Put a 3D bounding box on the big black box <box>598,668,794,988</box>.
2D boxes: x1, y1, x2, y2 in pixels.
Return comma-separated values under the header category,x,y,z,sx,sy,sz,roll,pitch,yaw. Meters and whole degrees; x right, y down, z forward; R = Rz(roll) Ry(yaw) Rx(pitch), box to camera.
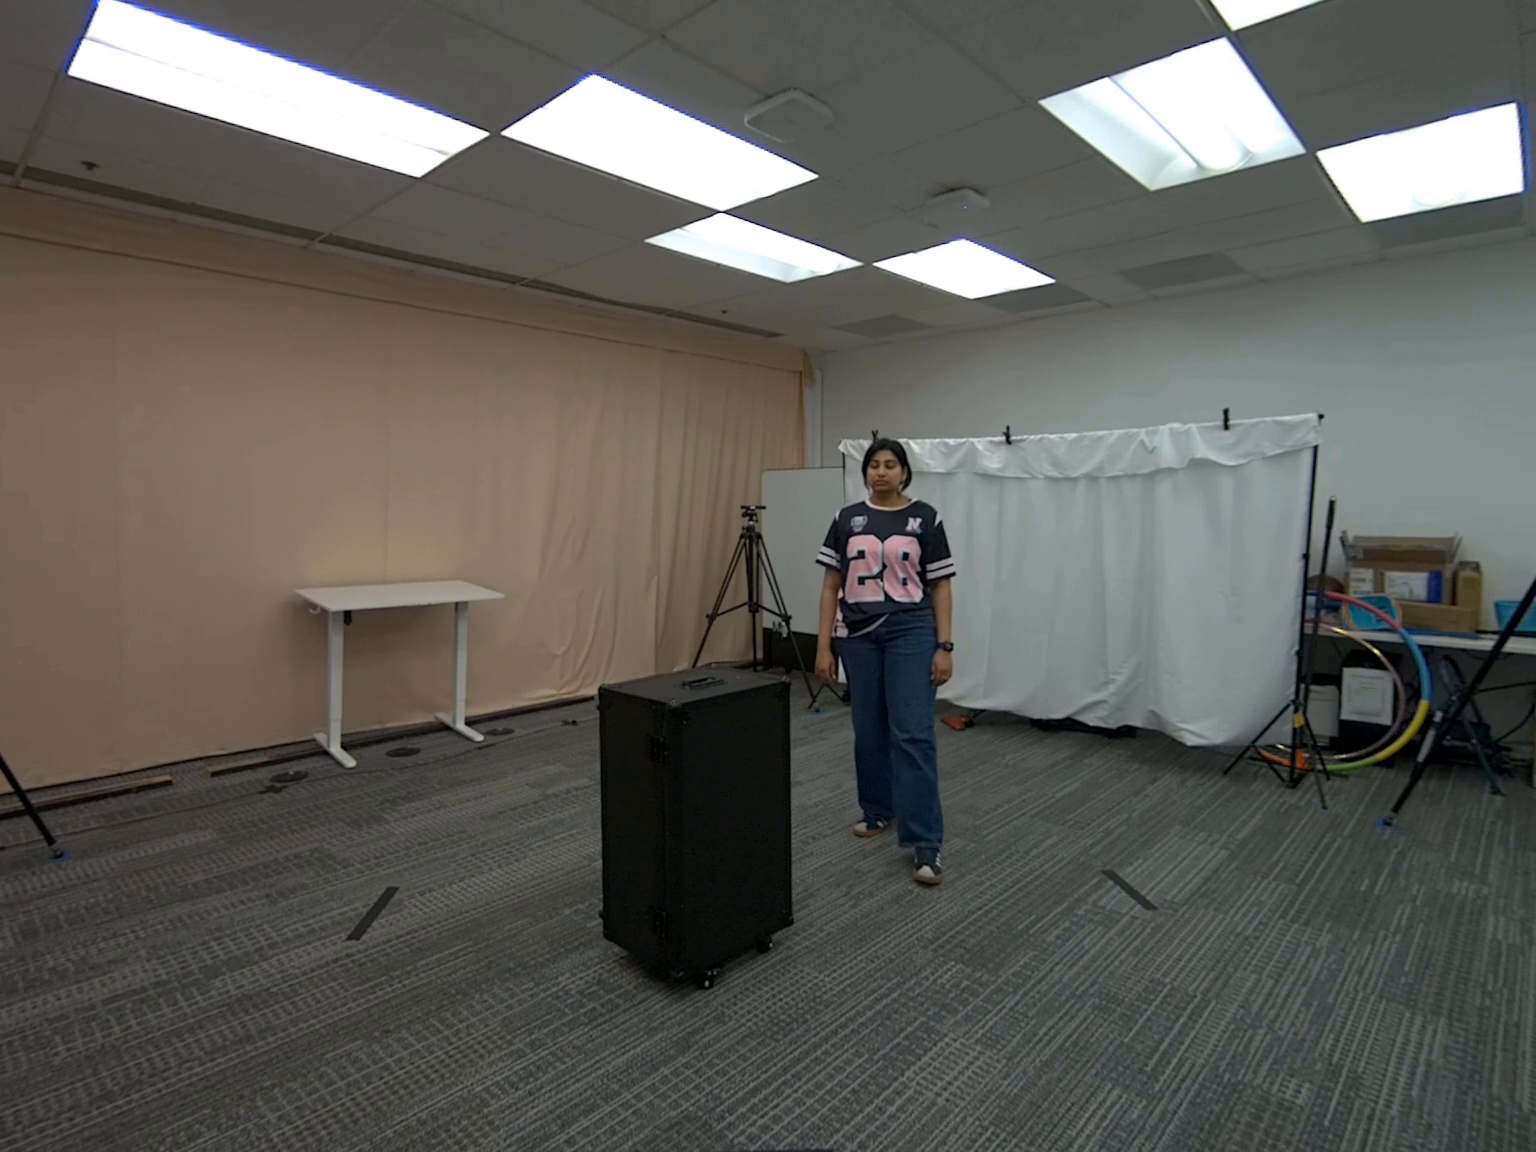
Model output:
category,x,y,z,sx,sy,sz,roll,pitch,yaw
big black box,-0.223,0.756,2.597,0.398,0.867,0.507,2,4,44
